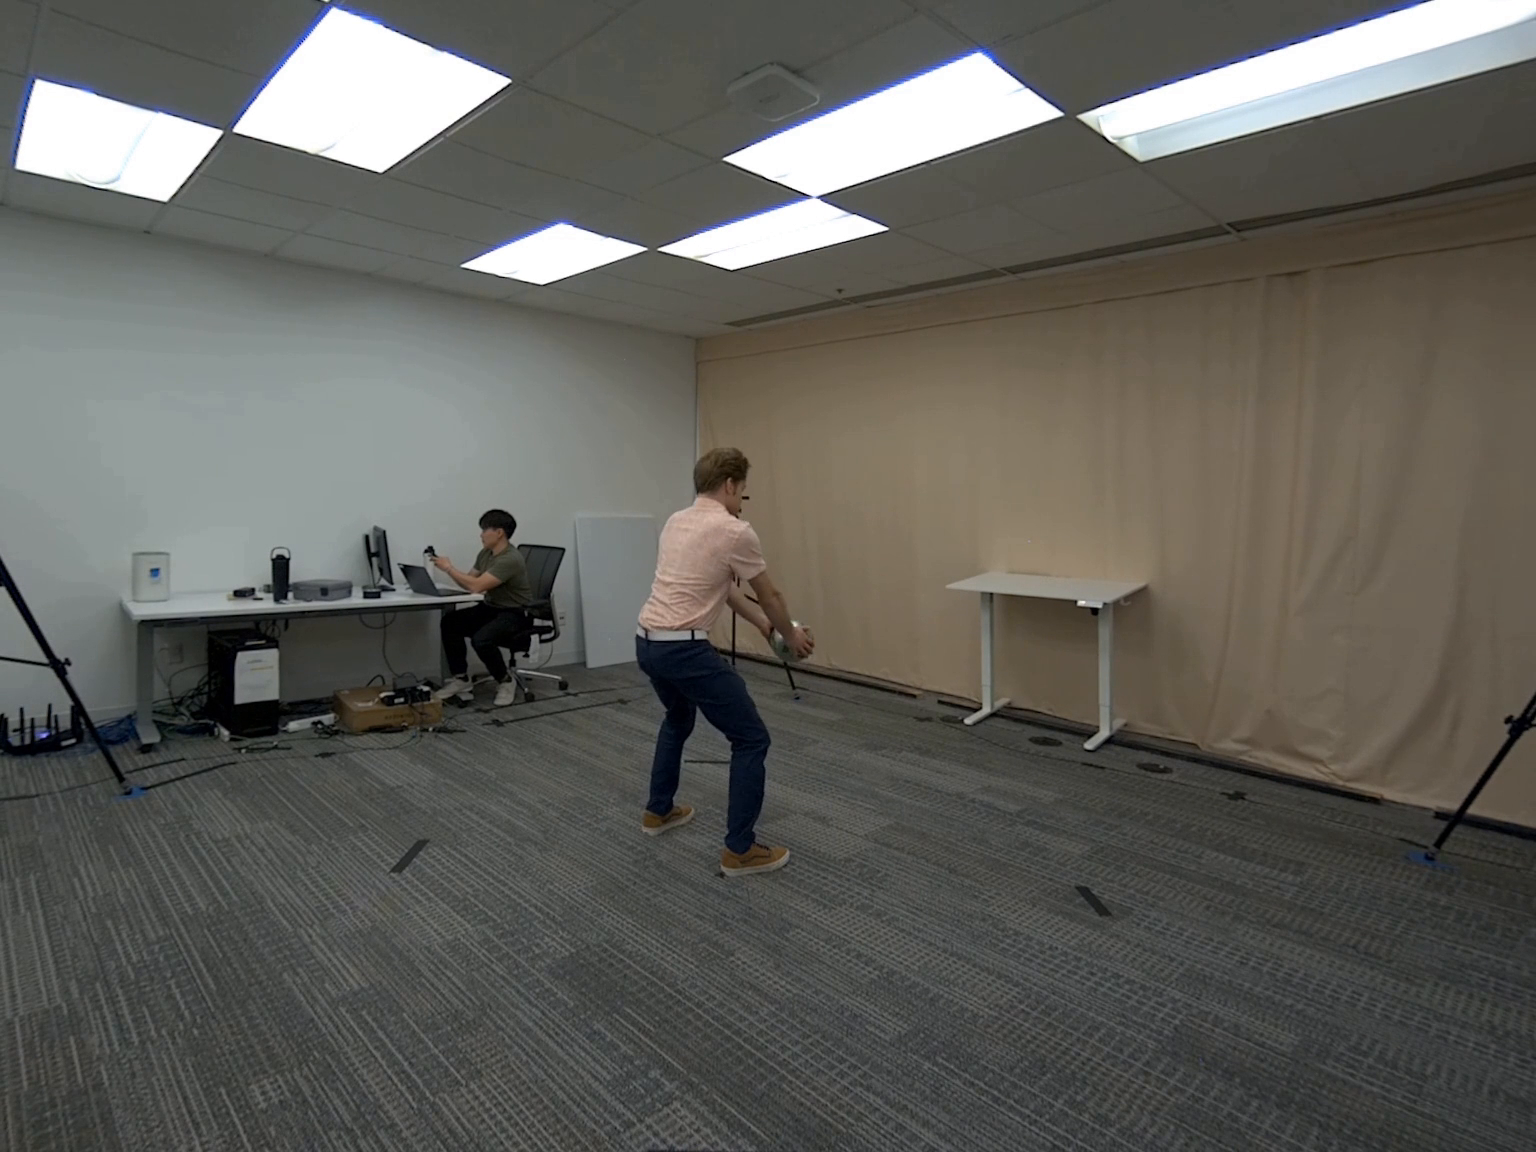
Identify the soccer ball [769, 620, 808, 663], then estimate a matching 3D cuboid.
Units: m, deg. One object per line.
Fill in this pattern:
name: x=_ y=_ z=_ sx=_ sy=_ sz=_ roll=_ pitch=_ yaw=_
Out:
soccer ball: x=0.101 y=0.298 z=3.619 sx=0.187 sy=0.187 sz=0.188 roll=1 pitch=4 yaw=-1
